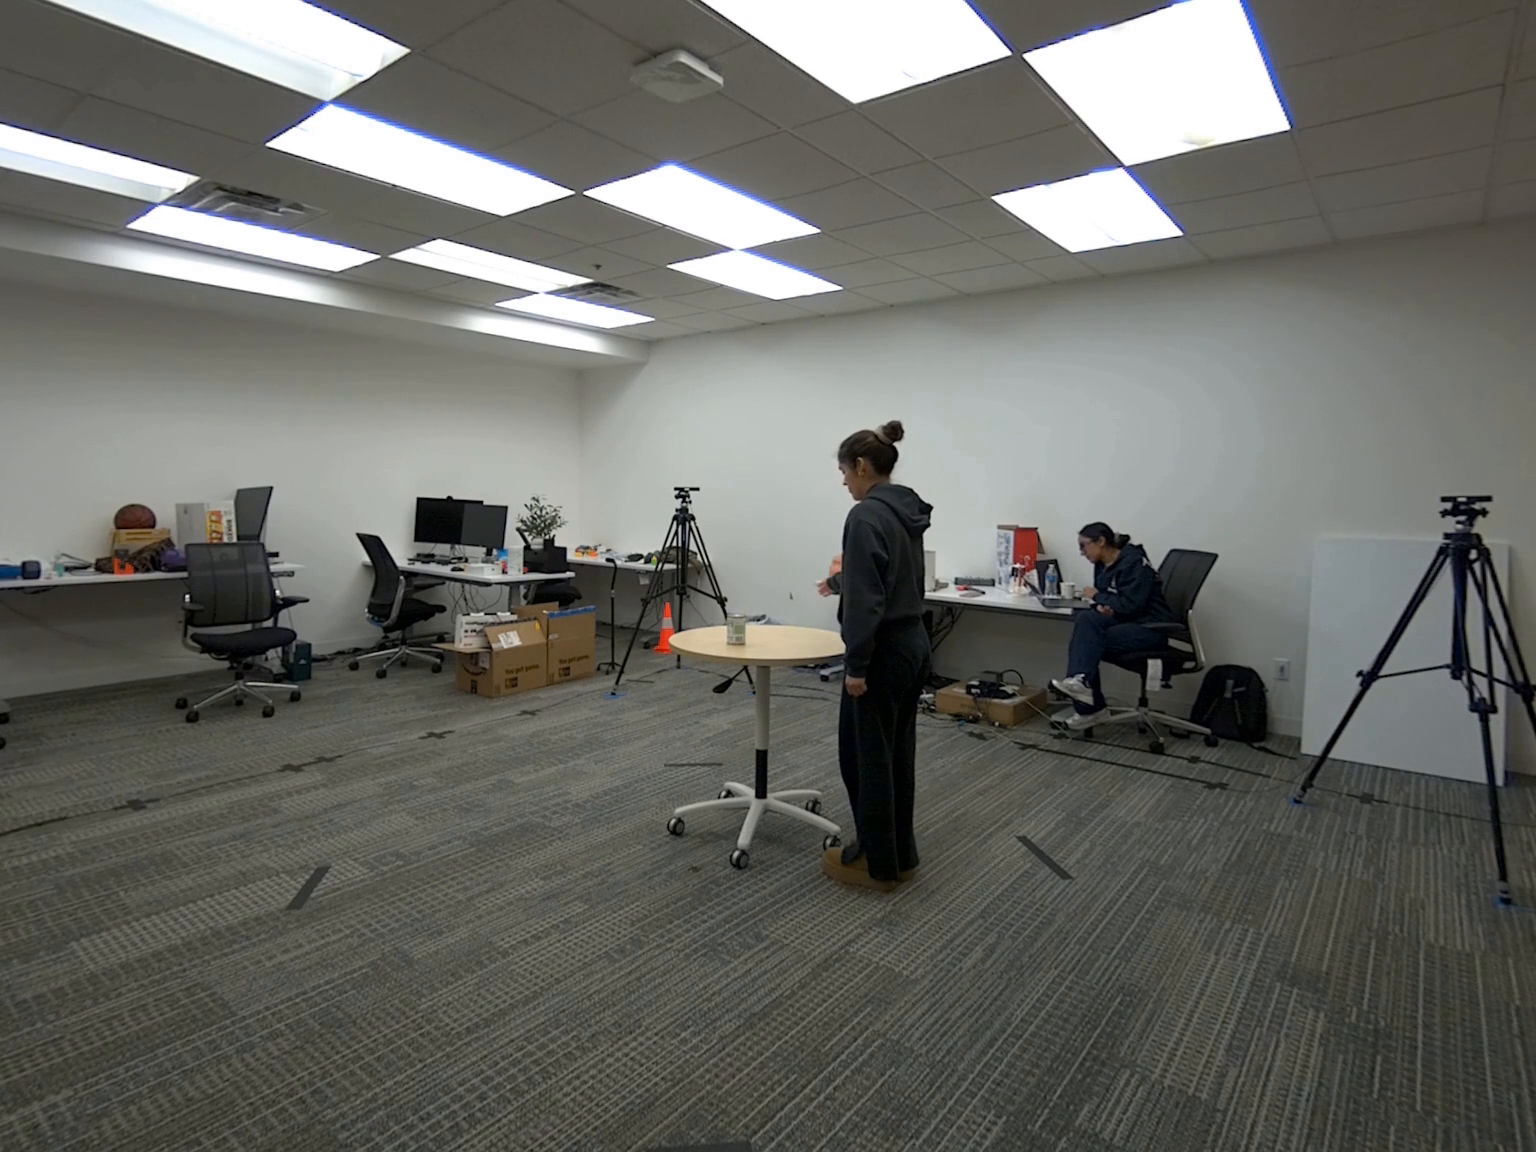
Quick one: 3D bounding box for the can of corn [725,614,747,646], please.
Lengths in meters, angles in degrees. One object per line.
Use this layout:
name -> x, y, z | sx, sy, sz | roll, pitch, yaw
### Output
can of corn -> -0.128, 0.208, 3.336 | 0.074, 0.110, 0.074 | 1, 4, -2
